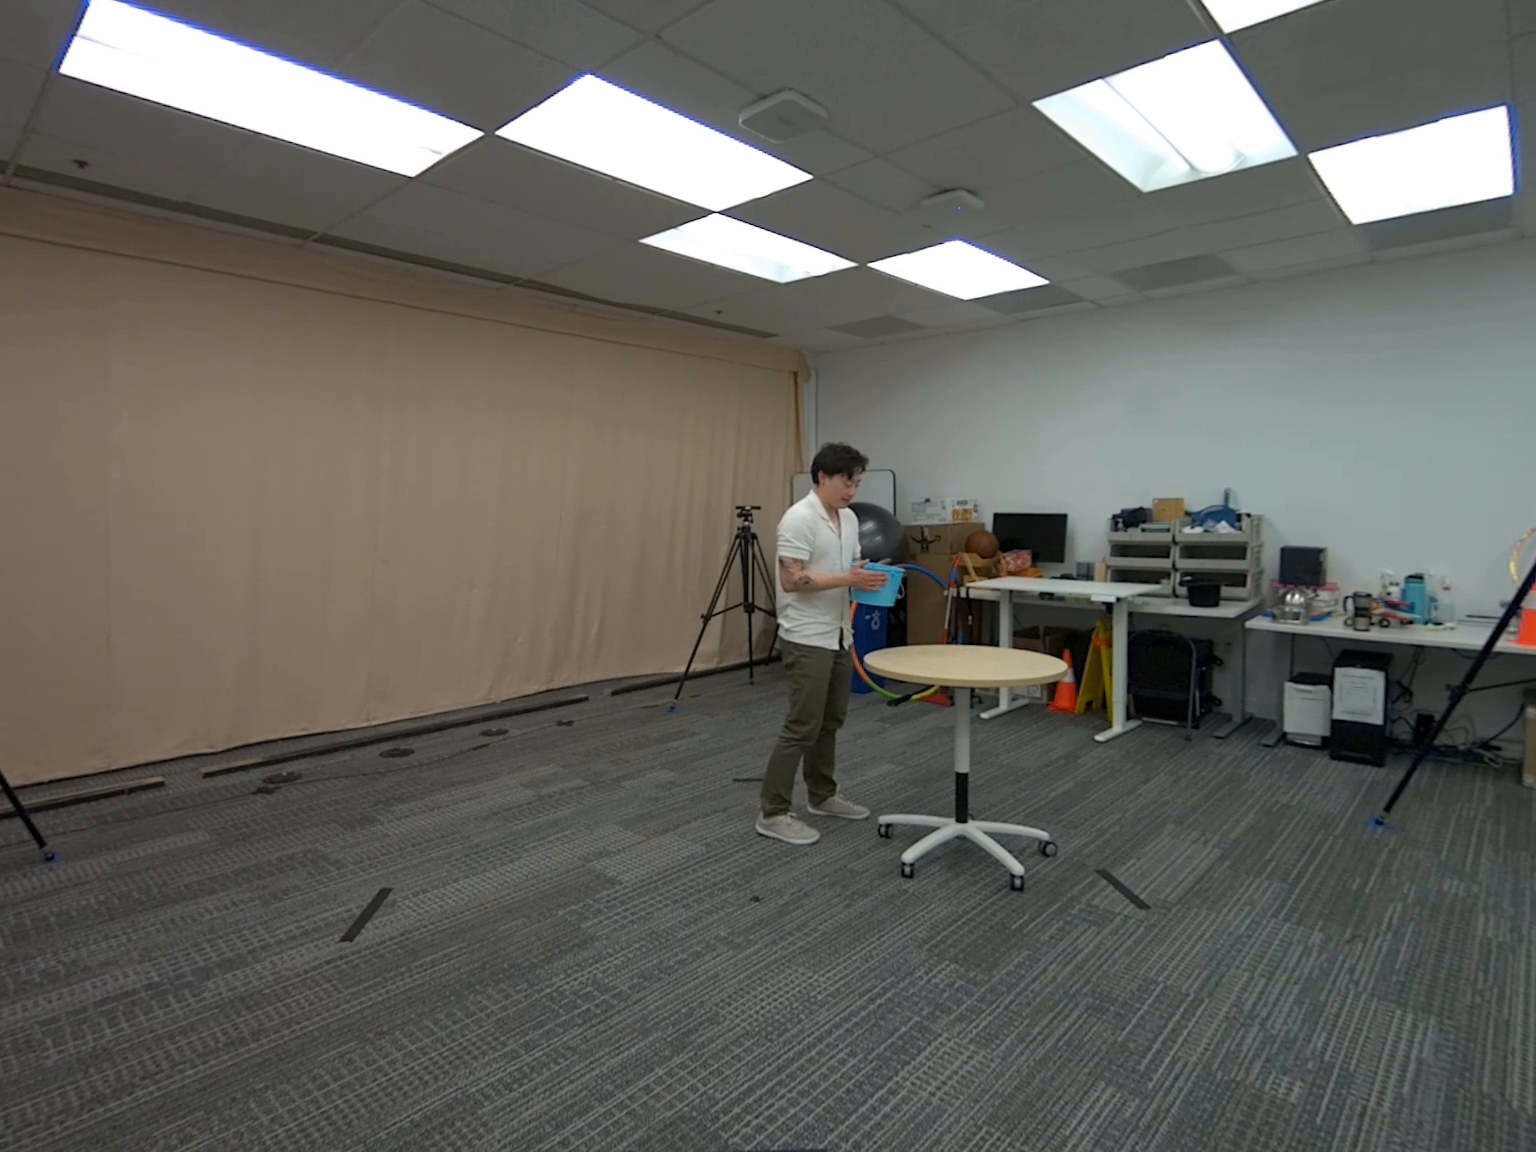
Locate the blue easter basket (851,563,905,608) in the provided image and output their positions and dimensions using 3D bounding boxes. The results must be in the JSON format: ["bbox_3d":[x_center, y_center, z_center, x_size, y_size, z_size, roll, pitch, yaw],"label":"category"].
[{"bbox_3d":[0.440,0.036,3.523,0.243,0.155,0.244,6,5,-2],"label":"blue easter basket"}]
